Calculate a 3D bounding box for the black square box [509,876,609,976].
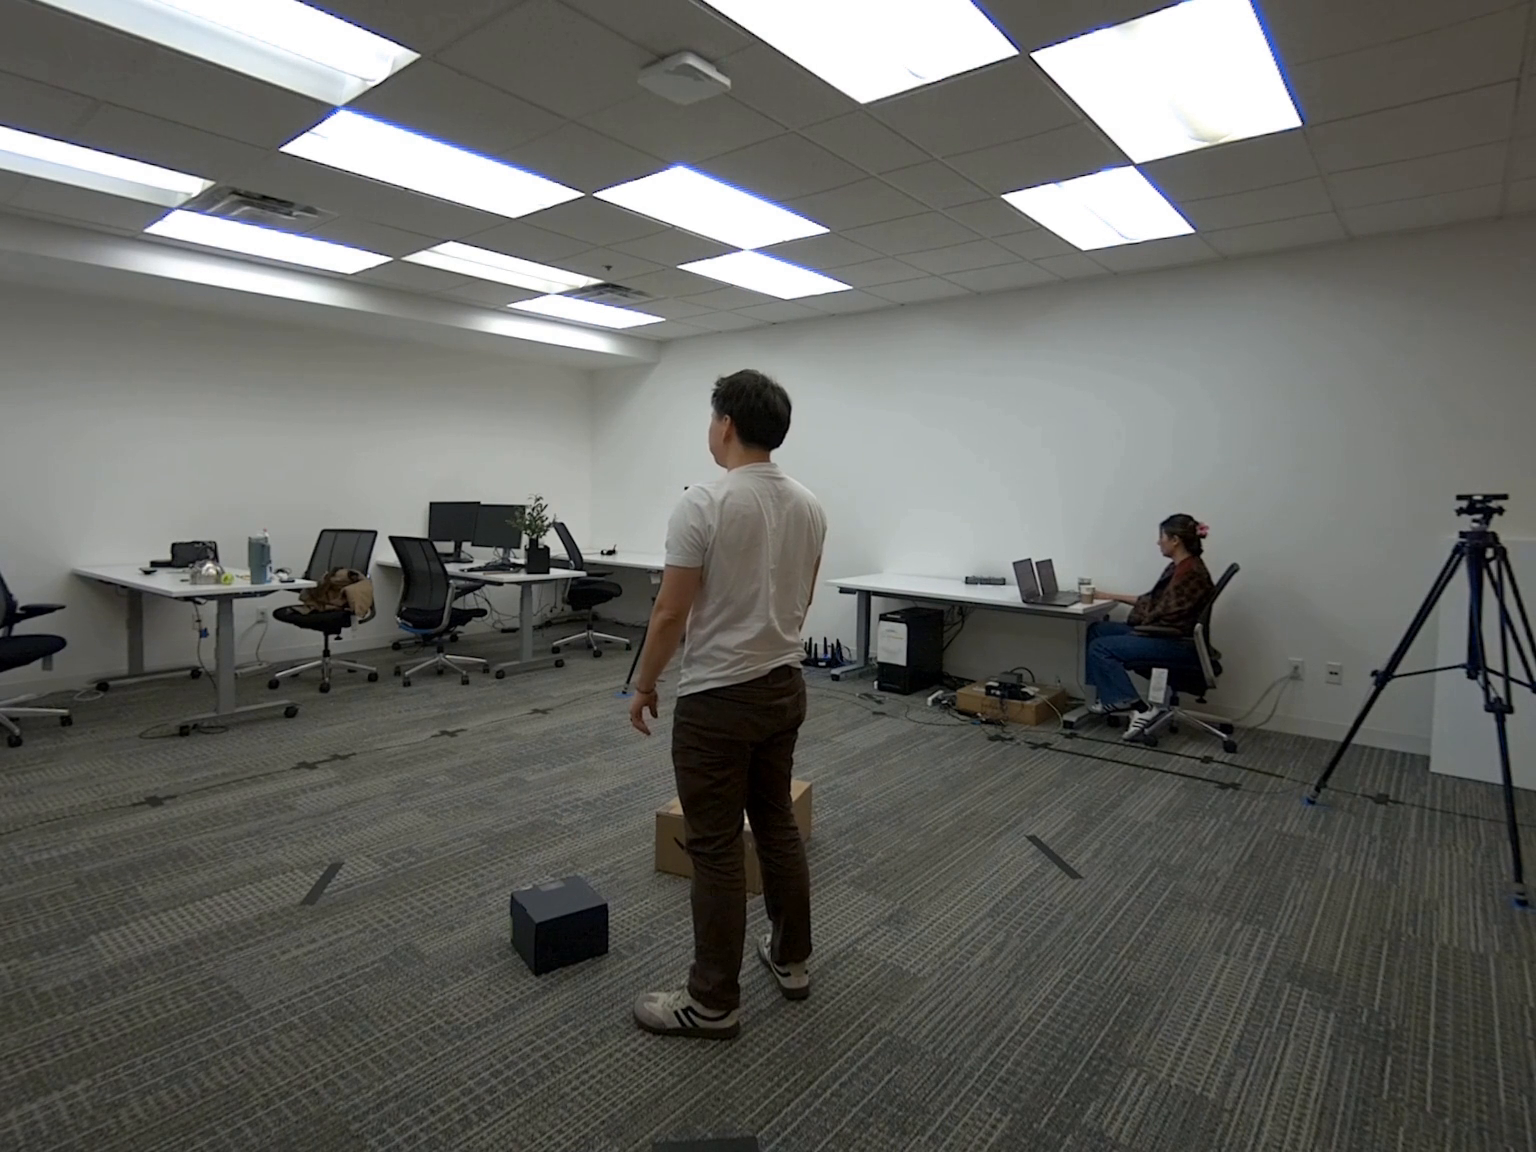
[{"bbox_3d":[-0.636,1.032,2.546,0.221,0.155,0.224,-3,6,-35],"label":"black square box"}]
